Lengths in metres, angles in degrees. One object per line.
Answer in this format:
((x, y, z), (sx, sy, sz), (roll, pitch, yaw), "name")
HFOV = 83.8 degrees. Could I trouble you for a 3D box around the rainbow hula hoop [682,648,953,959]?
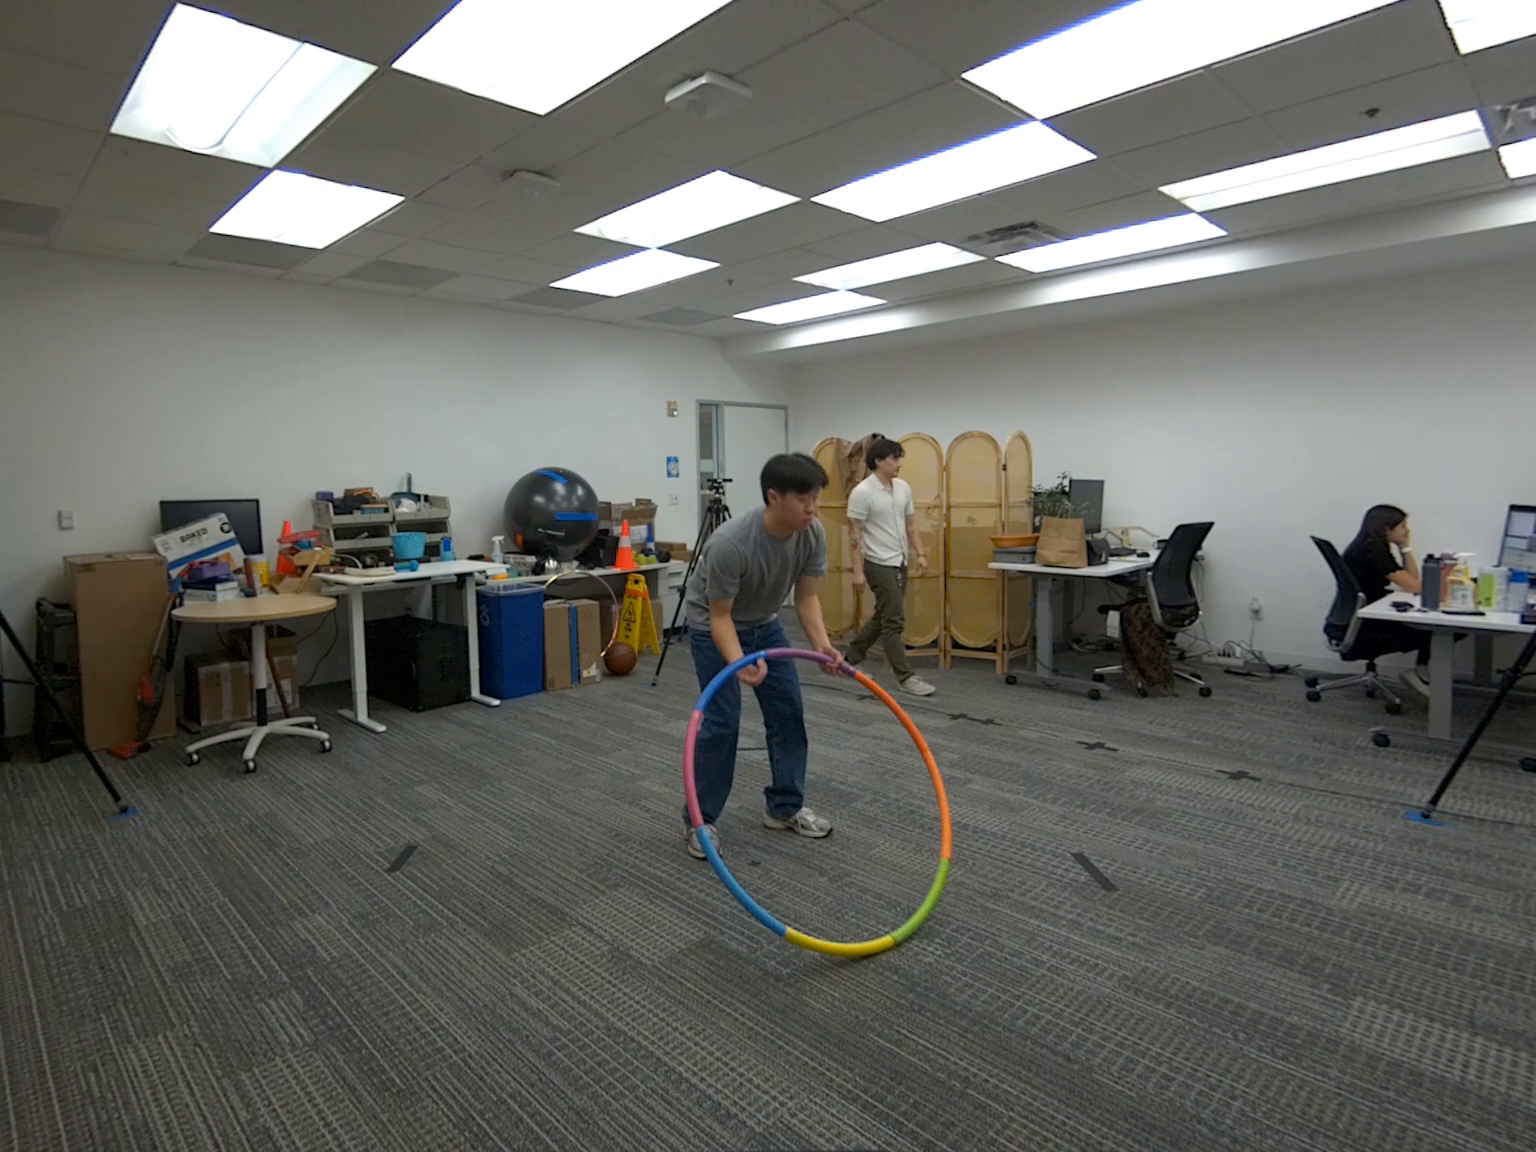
((0.174, 0.687, 2.747), (0.954, 1.007, 0.035), (-5, -32, -33), "rainbow hula hoop")
